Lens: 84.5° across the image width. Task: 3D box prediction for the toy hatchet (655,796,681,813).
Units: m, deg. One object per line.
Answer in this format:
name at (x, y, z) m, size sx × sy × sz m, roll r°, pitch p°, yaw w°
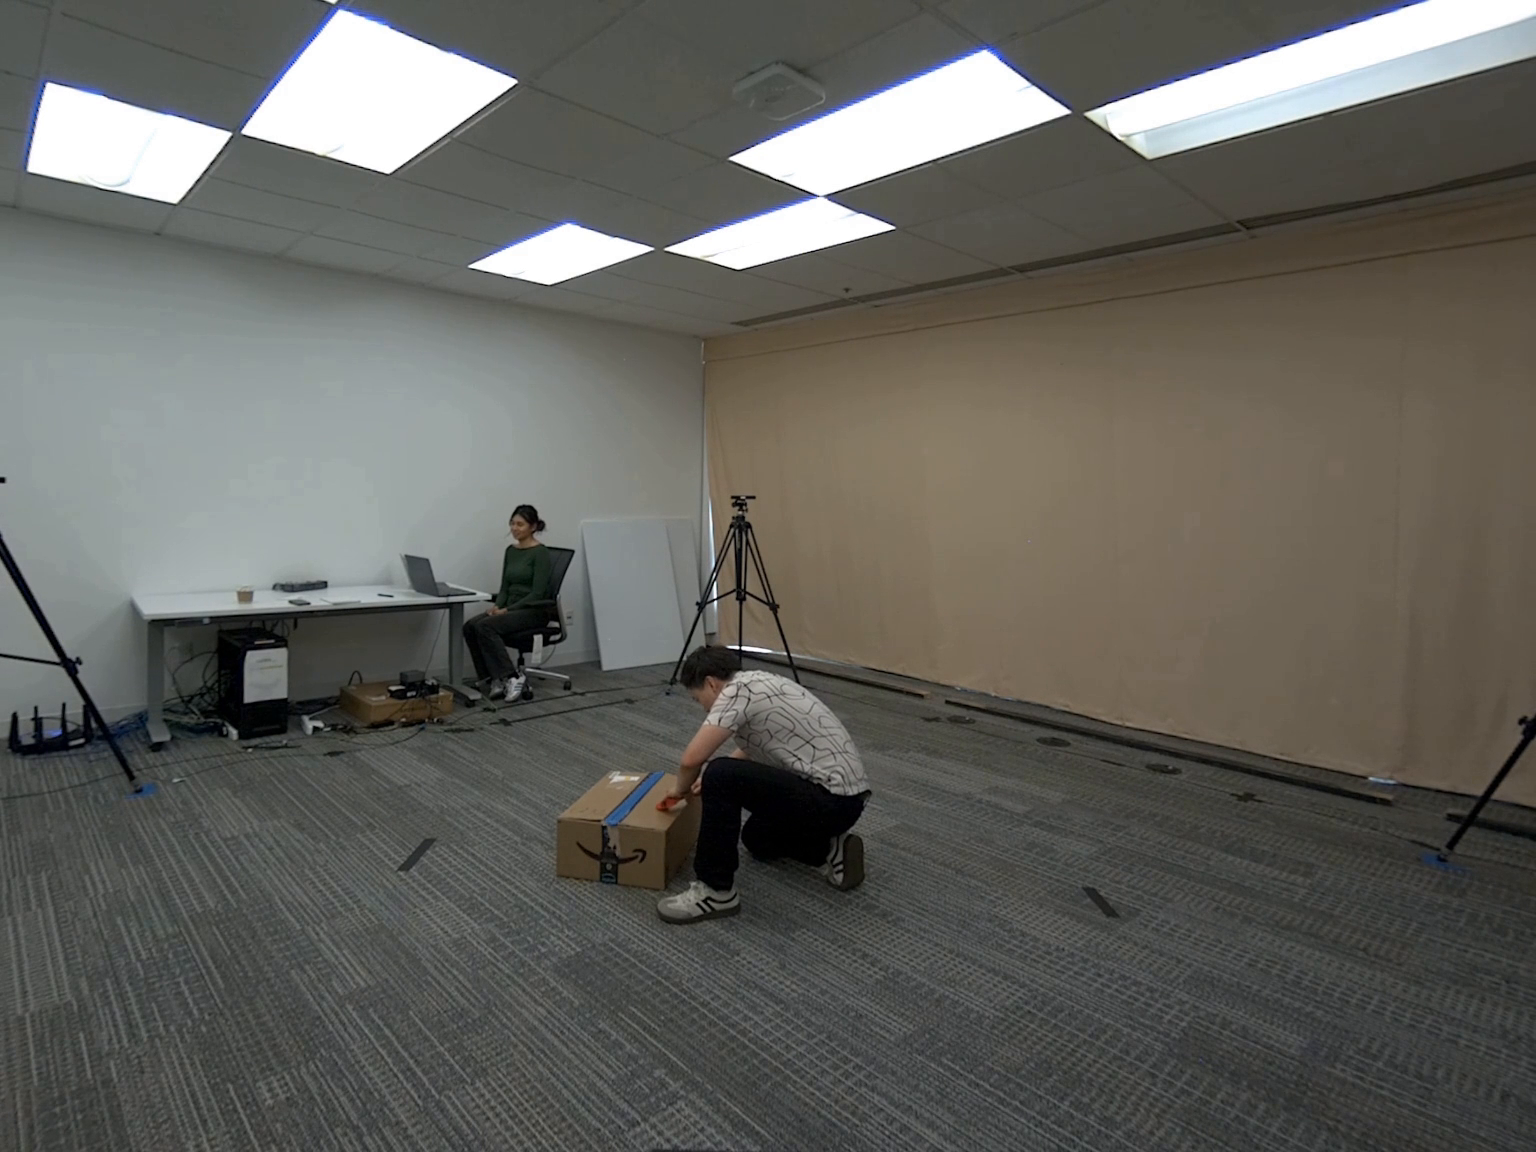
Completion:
toy hatchet at (-0.350, 0.833, 3.207) m, size 0.132 × 0.030 × 0.266 m, roll -23°, pitch -6°, yaw 15°
